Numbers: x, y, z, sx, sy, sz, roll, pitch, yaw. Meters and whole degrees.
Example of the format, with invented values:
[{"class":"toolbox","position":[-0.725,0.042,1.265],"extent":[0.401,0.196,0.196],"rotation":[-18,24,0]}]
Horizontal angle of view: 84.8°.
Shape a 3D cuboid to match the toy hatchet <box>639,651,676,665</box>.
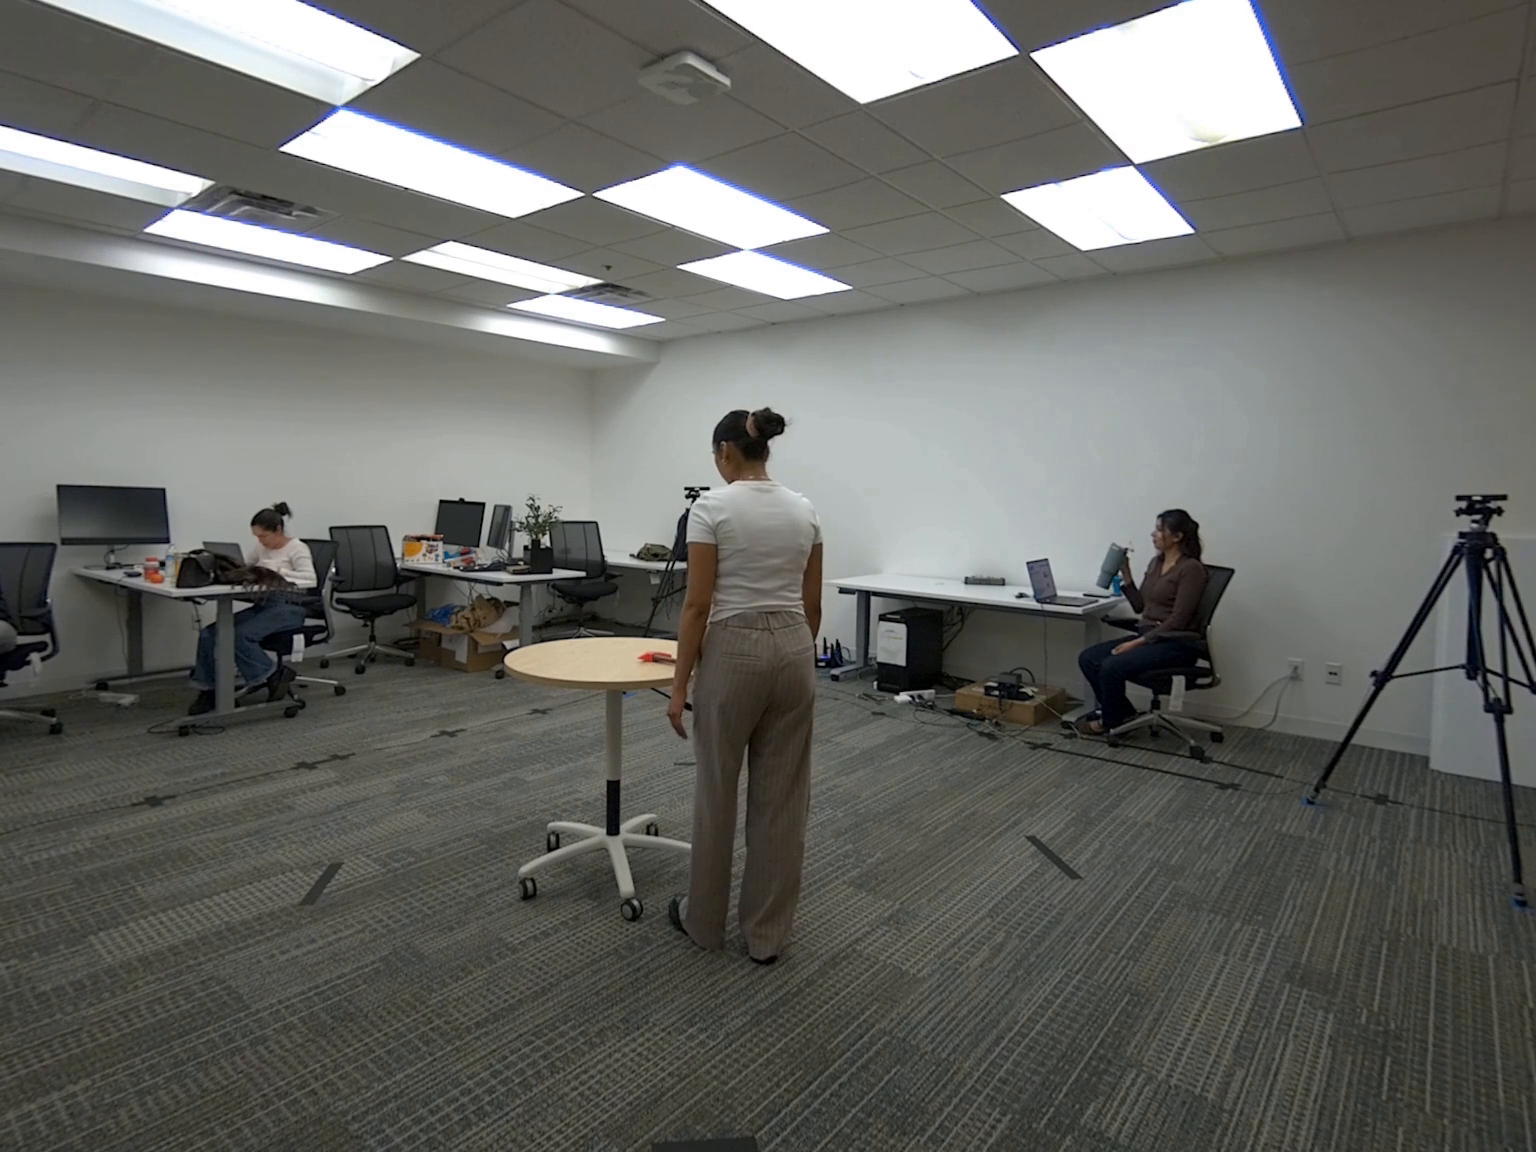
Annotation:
[{"class":"toy hatchet","position":[-0.317,0.289,2.947],"extent":[0.275,0.029,0.128],"rotation":[5,2,18]}]
